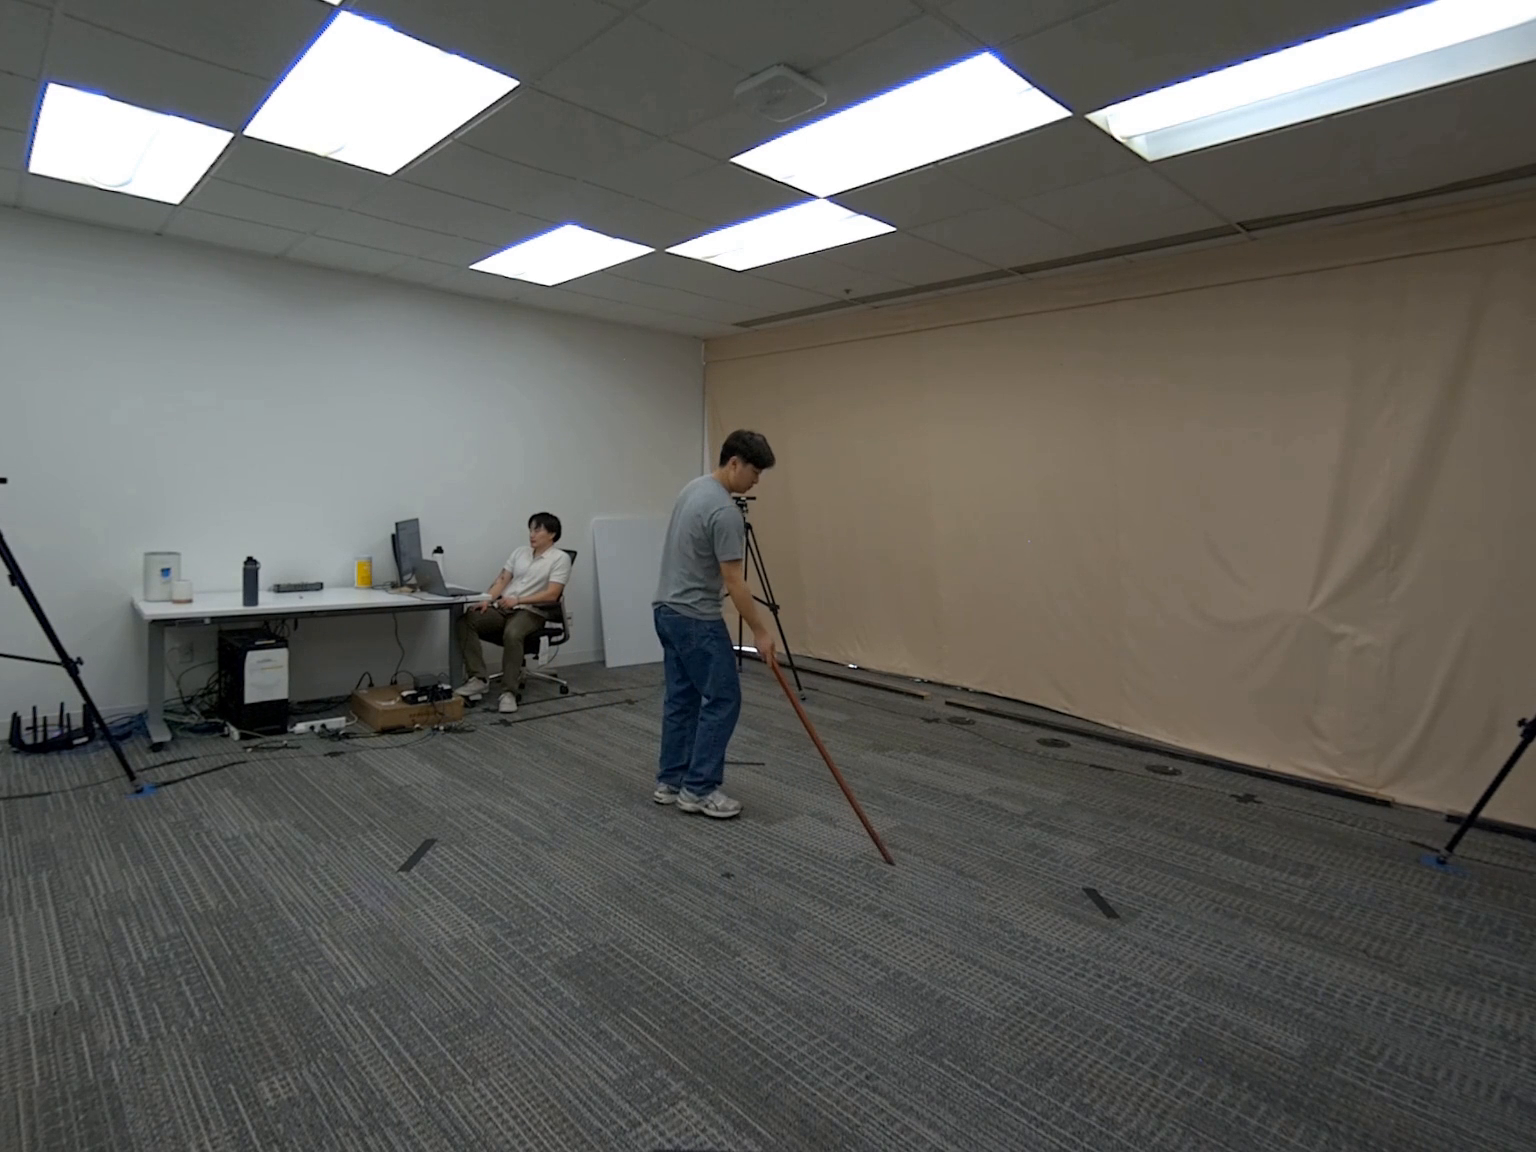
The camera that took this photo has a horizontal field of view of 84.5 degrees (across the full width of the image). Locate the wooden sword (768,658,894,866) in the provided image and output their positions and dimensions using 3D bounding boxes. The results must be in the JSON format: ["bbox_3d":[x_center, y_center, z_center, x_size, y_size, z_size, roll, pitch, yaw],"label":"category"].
[{"bbox_3d":[0.226,0.718,3.468,0.051,1.051,0.024,-21,-28,-20],"label":"wooden sword"}]
